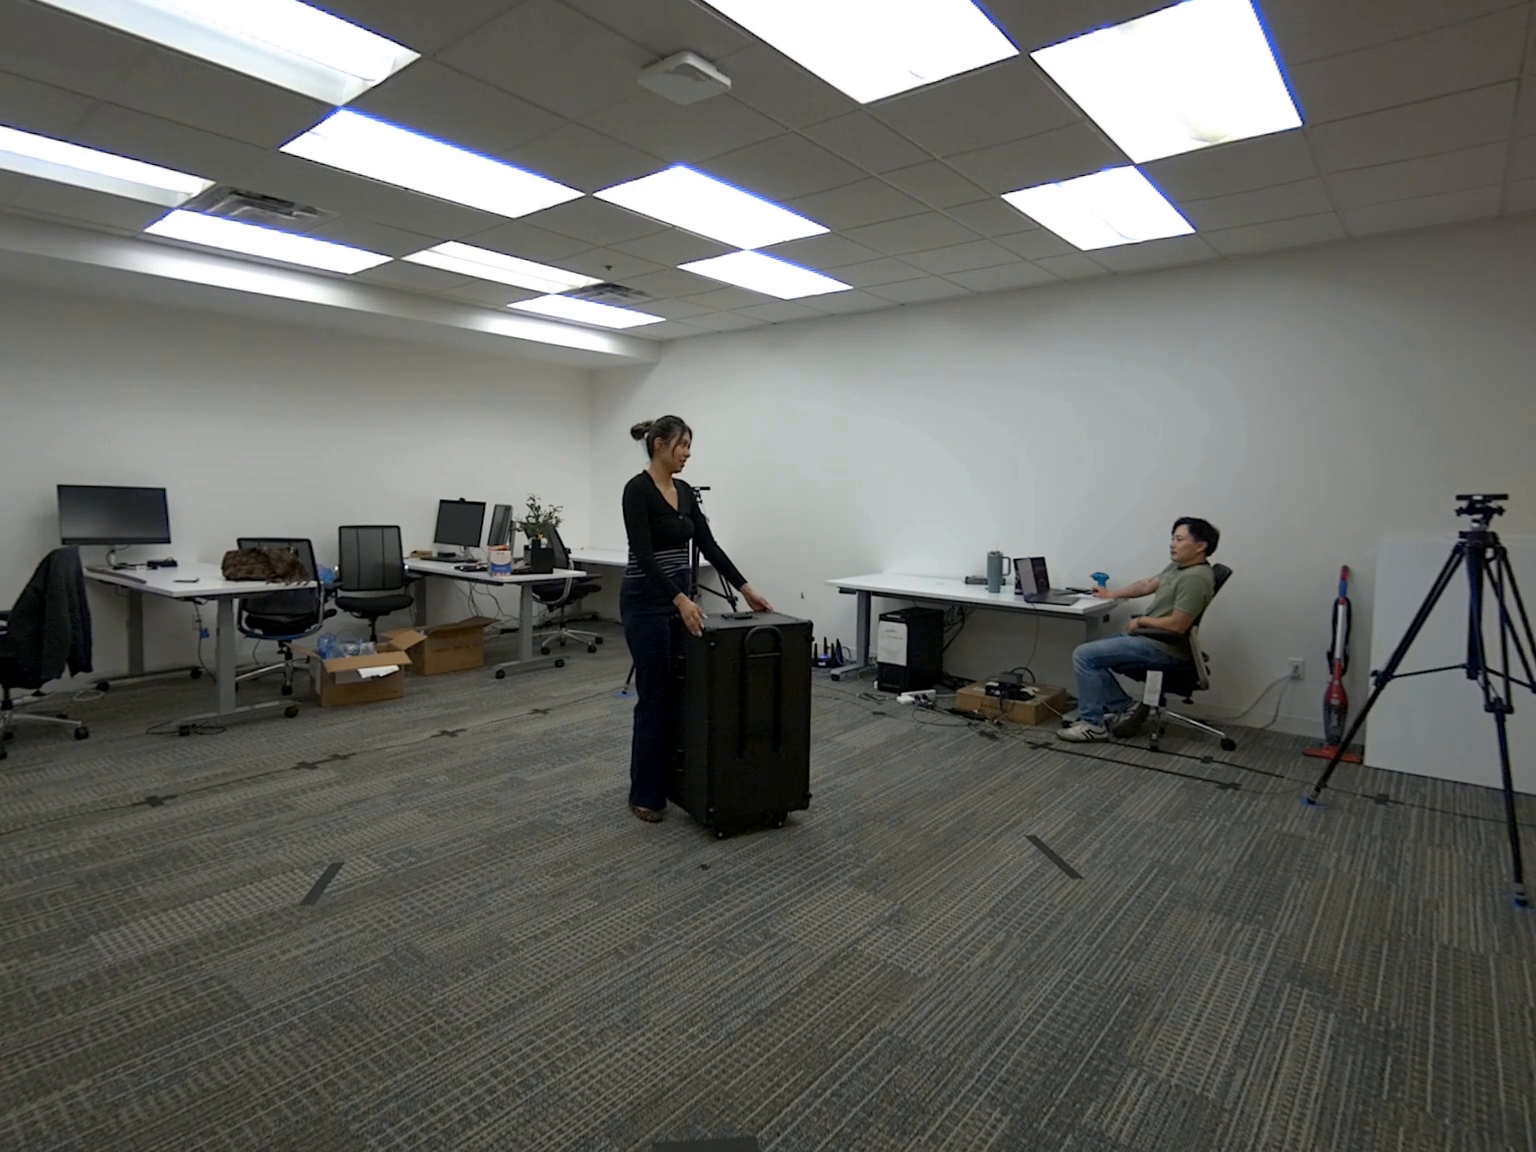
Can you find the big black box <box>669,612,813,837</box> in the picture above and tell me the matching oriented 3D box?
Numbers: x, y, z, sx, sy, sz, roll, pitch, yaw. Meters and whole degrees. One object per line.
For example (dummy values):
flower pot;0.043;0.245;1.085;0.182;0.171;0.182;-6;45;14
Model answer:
big black box;-0.117;0.597;3.535;0.507;0.859;0.408;-1;4;-29
